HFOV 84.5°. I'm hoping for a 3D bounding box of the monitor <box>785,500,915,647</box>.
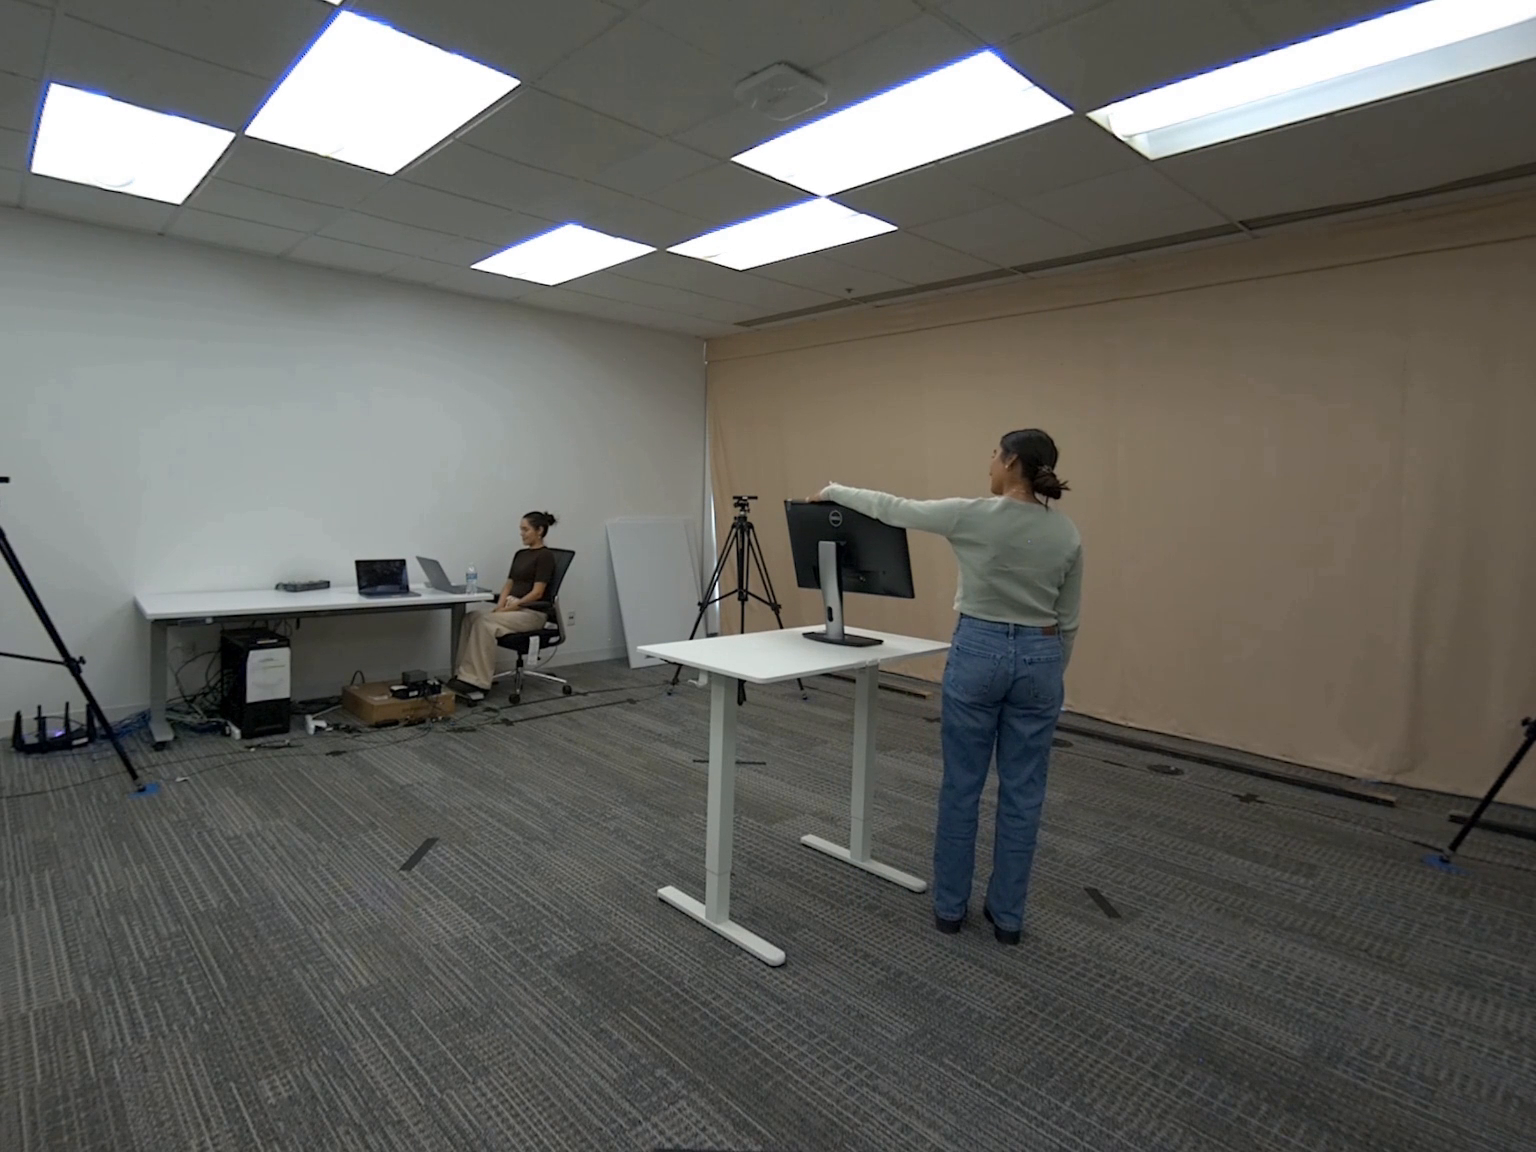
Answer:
[{"bbox_3d":[0.258,-0.013,3.043,0.553,0.521,0.183,5,7,43],"label":"monitor"}]
